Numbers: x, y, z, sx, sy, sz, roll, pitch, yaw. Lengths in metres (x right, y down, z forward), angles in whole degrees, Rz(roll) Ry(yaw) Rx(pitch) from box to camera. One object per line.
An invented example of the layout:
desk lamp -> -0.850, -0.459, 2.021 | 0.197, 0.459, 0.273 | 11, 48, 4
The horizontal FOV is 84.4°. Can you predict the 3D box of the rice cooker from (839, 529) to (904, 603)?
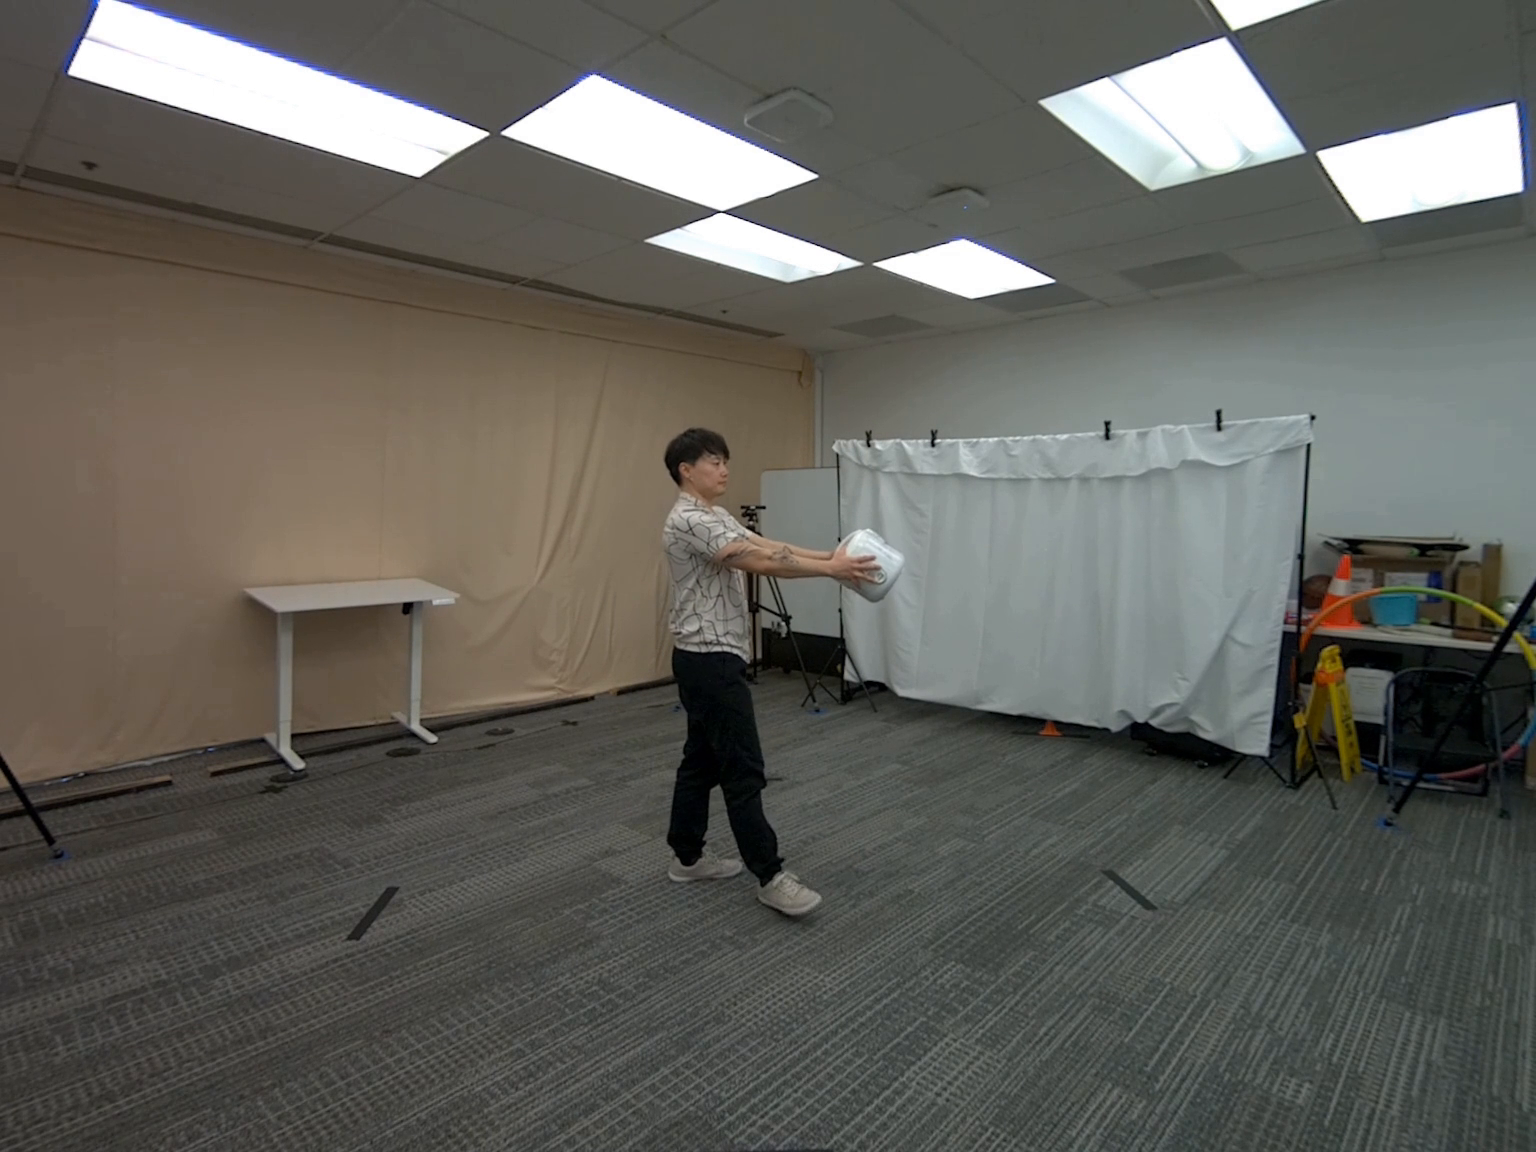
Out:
rice cooker -> 0.352, -0.046, 2.991 | 0.234, 0.220, 0.216 | 33, 9, 4
